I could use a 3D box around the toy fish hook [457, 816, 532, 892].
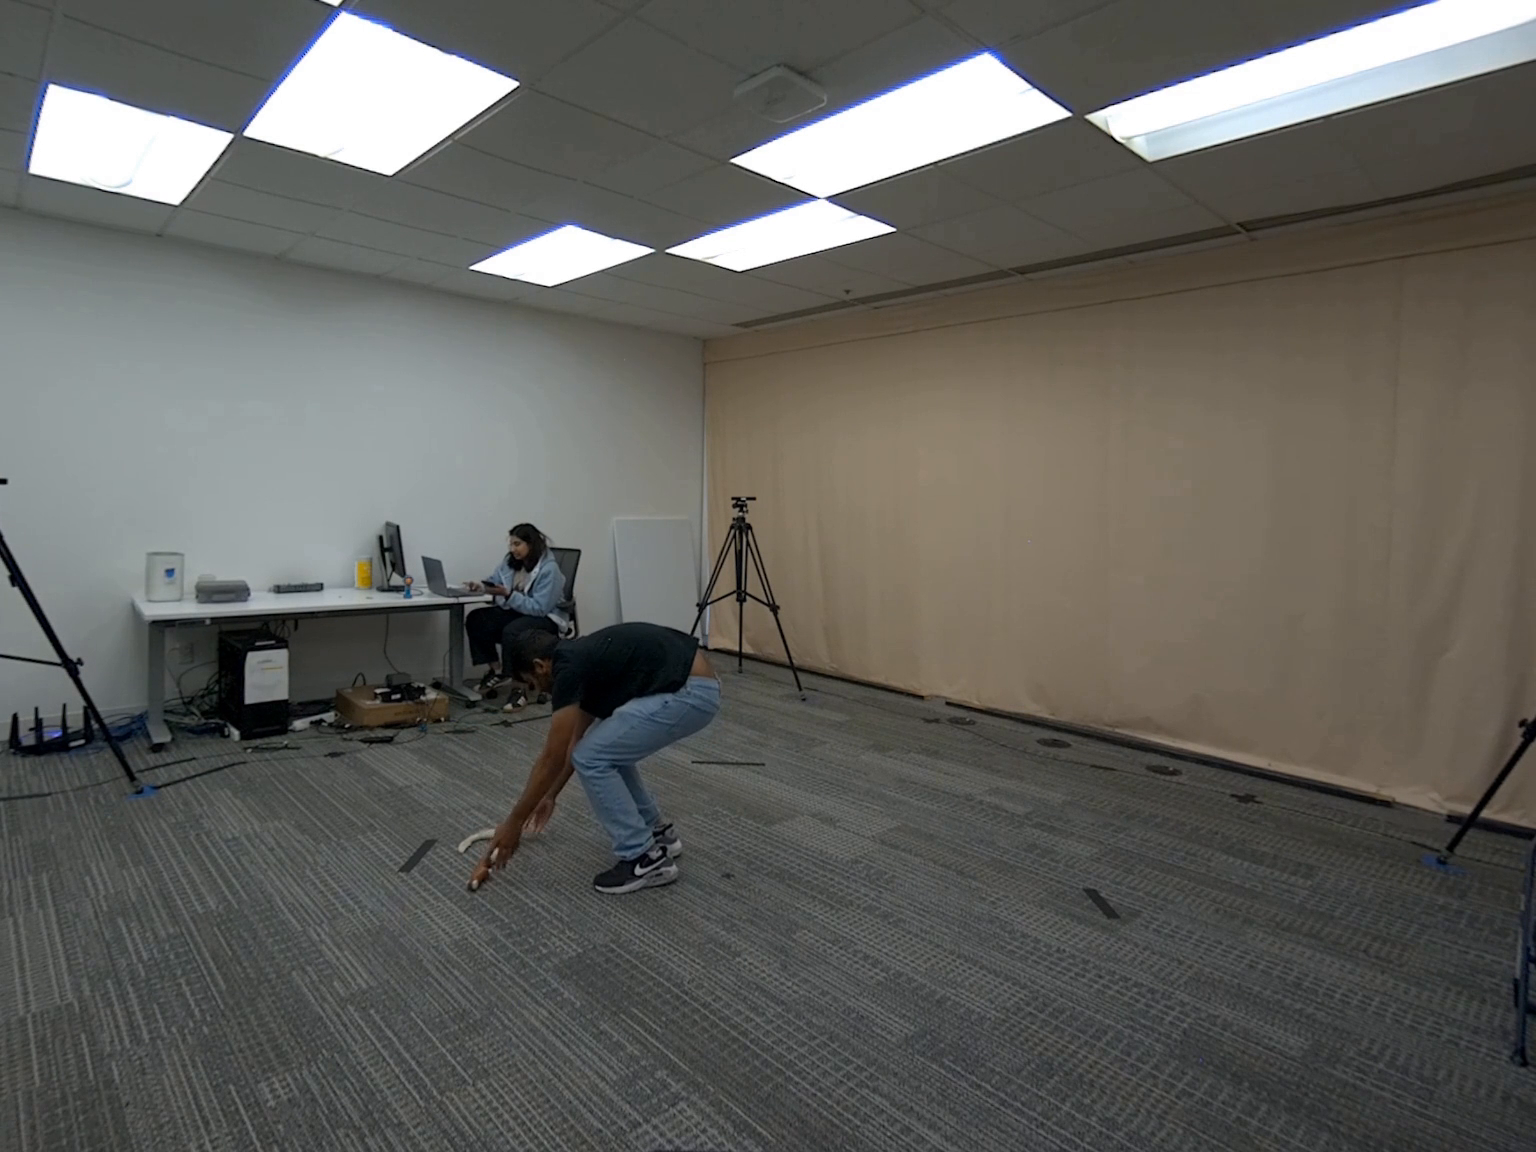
[{"bbox_3d":[-1.096,1.061,3.174,0.224,0.048,0.508,-5,4,-1],"label":"toy fish hook"}]
